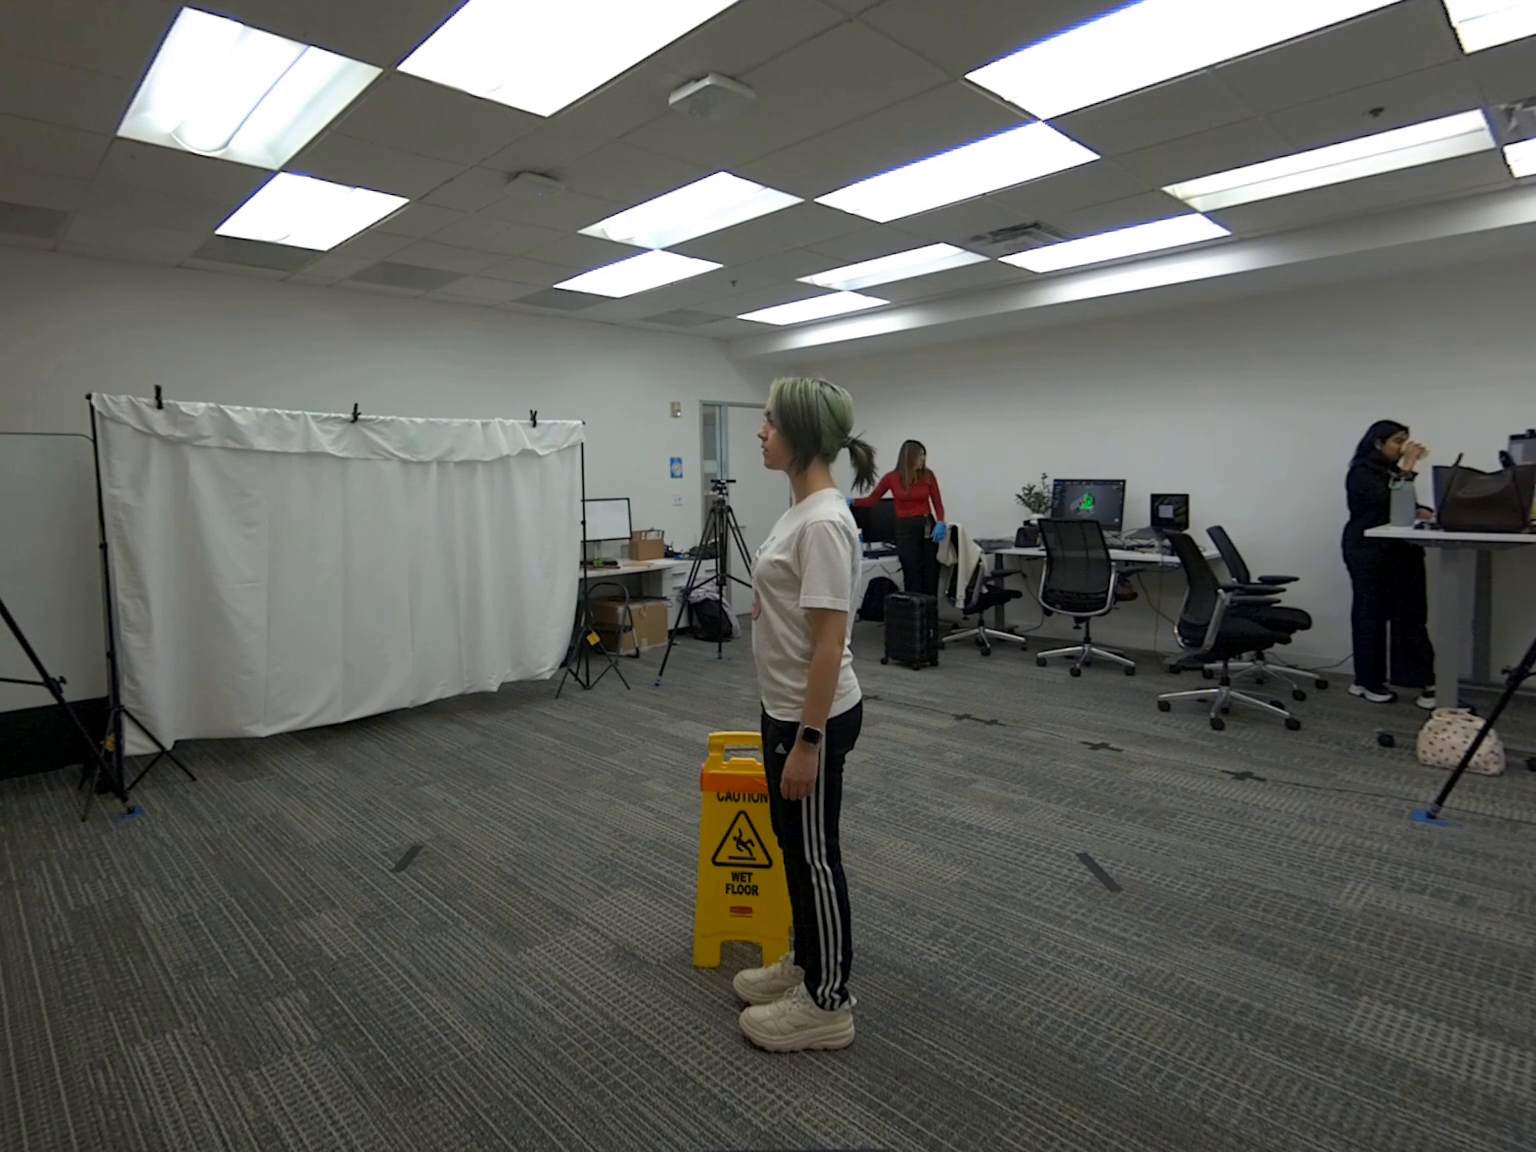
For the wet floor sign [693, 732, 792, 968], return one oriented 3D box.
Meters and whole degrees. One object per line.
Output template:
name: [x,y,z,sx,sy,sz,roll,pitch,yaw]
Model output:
wet floor sign: [-0.074,0.784,2.544,0.284,0.644,0.289,1,3,5]
